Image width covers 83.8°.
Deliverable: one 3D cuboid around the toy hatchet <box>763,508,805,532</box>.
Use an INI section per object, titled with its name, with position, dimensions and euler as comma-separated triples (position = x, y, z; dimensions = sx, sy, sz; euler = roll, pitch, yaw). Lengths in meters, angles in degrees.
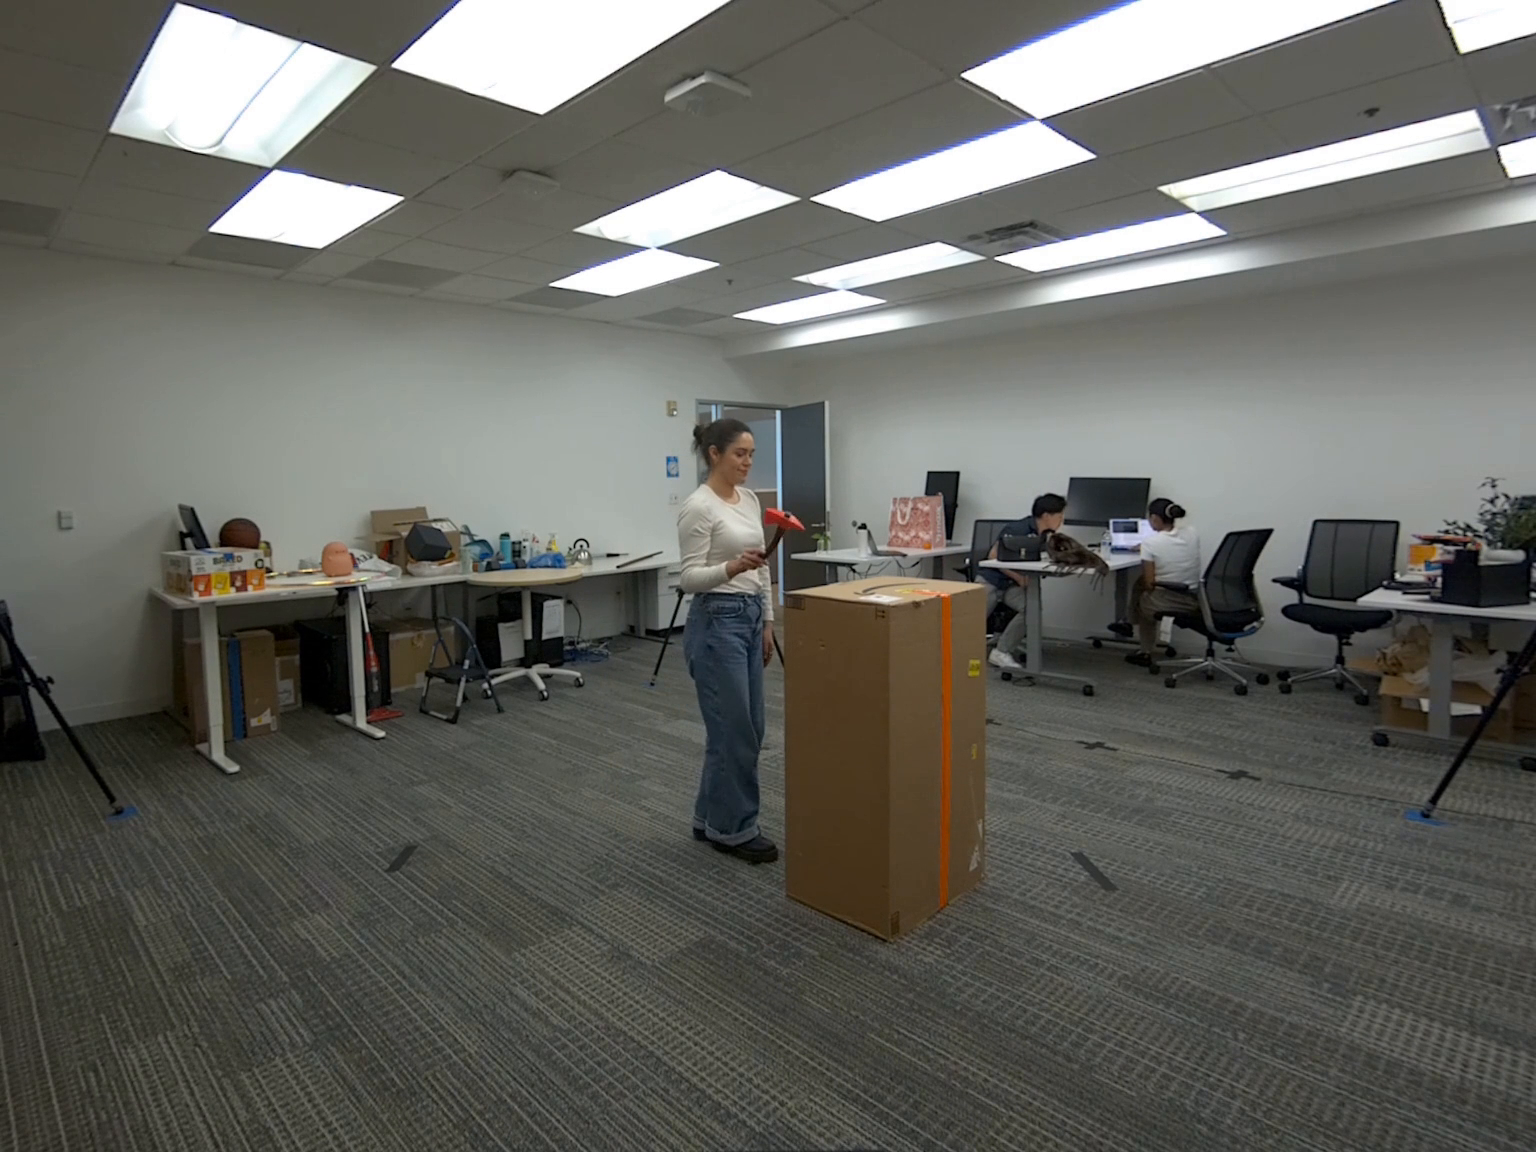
[toy hatchet]
position = -0.003, -0.123, 2.740
dimensions = 0.271, 0.129, 0.030
euler = -38, 17, 44
